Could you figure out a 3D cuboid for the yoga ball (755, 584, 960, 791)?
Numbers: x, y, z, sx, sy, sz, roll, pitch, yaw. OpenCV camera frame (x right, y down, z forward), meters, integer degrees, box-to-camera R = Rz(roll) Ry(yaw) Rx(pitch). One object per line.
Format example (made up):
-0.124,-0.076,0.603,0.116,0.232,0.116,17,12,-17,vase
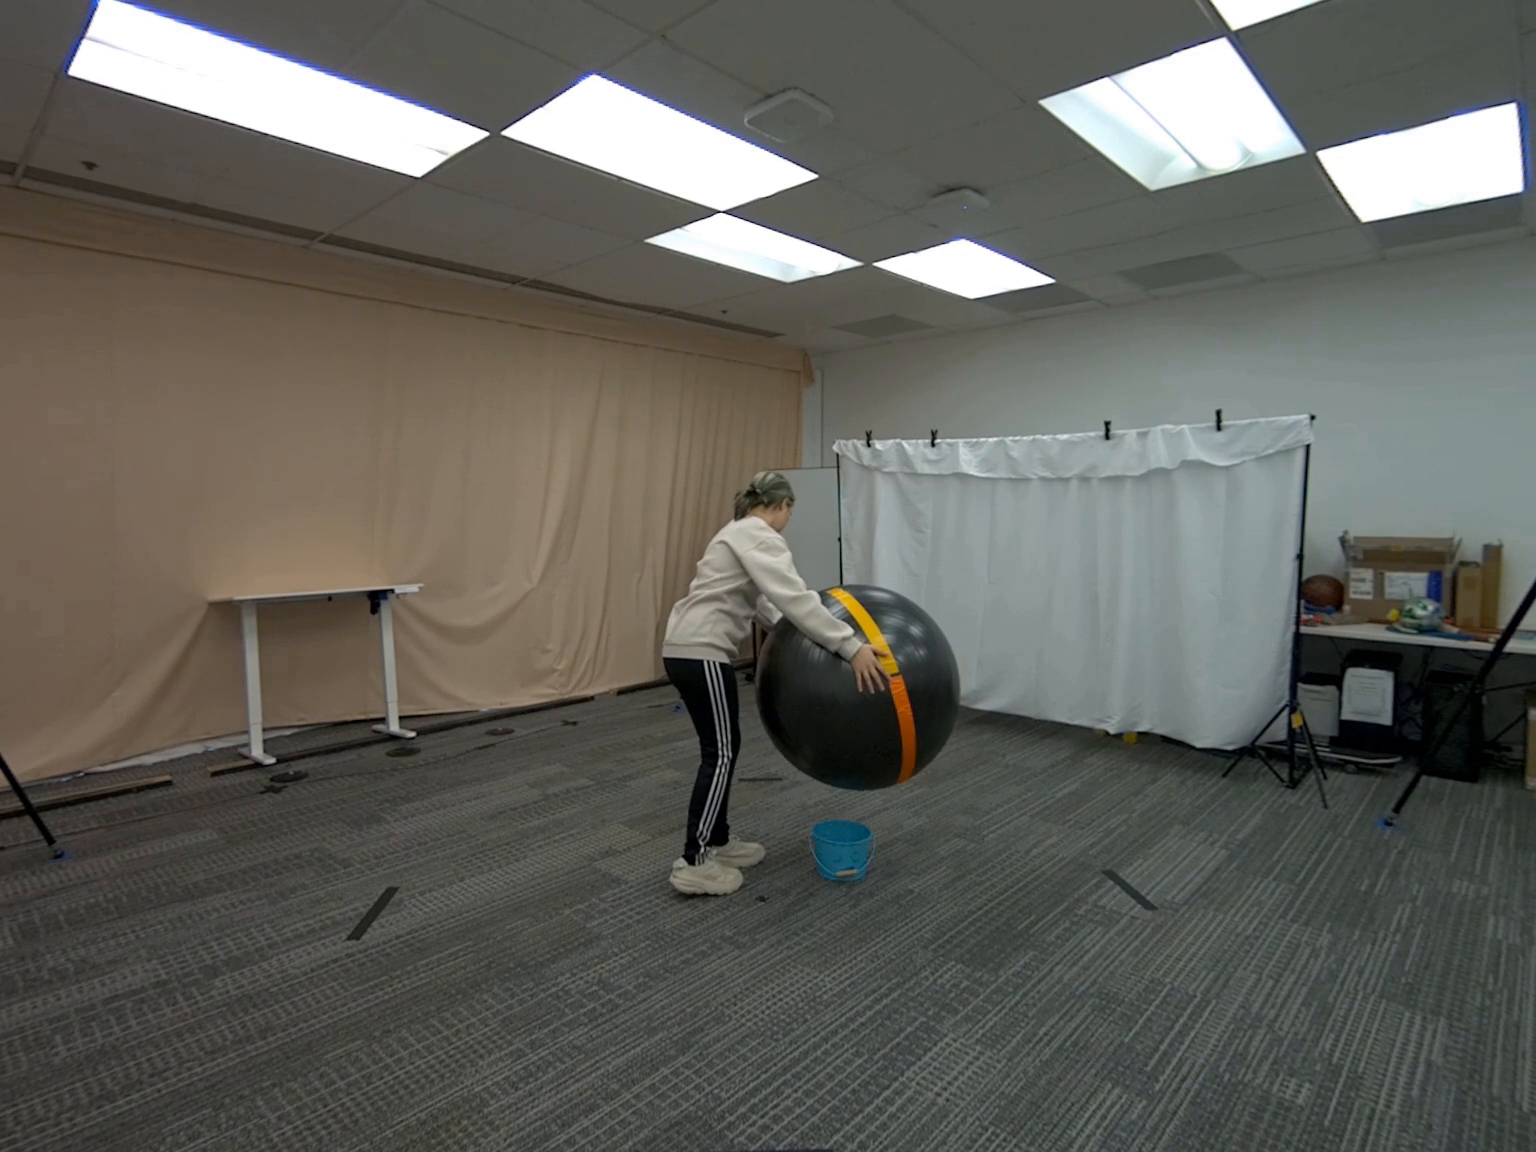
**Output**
0.341,0.420,3.165,0.757,0.756,0.761,0,4,-2,yoga ball
